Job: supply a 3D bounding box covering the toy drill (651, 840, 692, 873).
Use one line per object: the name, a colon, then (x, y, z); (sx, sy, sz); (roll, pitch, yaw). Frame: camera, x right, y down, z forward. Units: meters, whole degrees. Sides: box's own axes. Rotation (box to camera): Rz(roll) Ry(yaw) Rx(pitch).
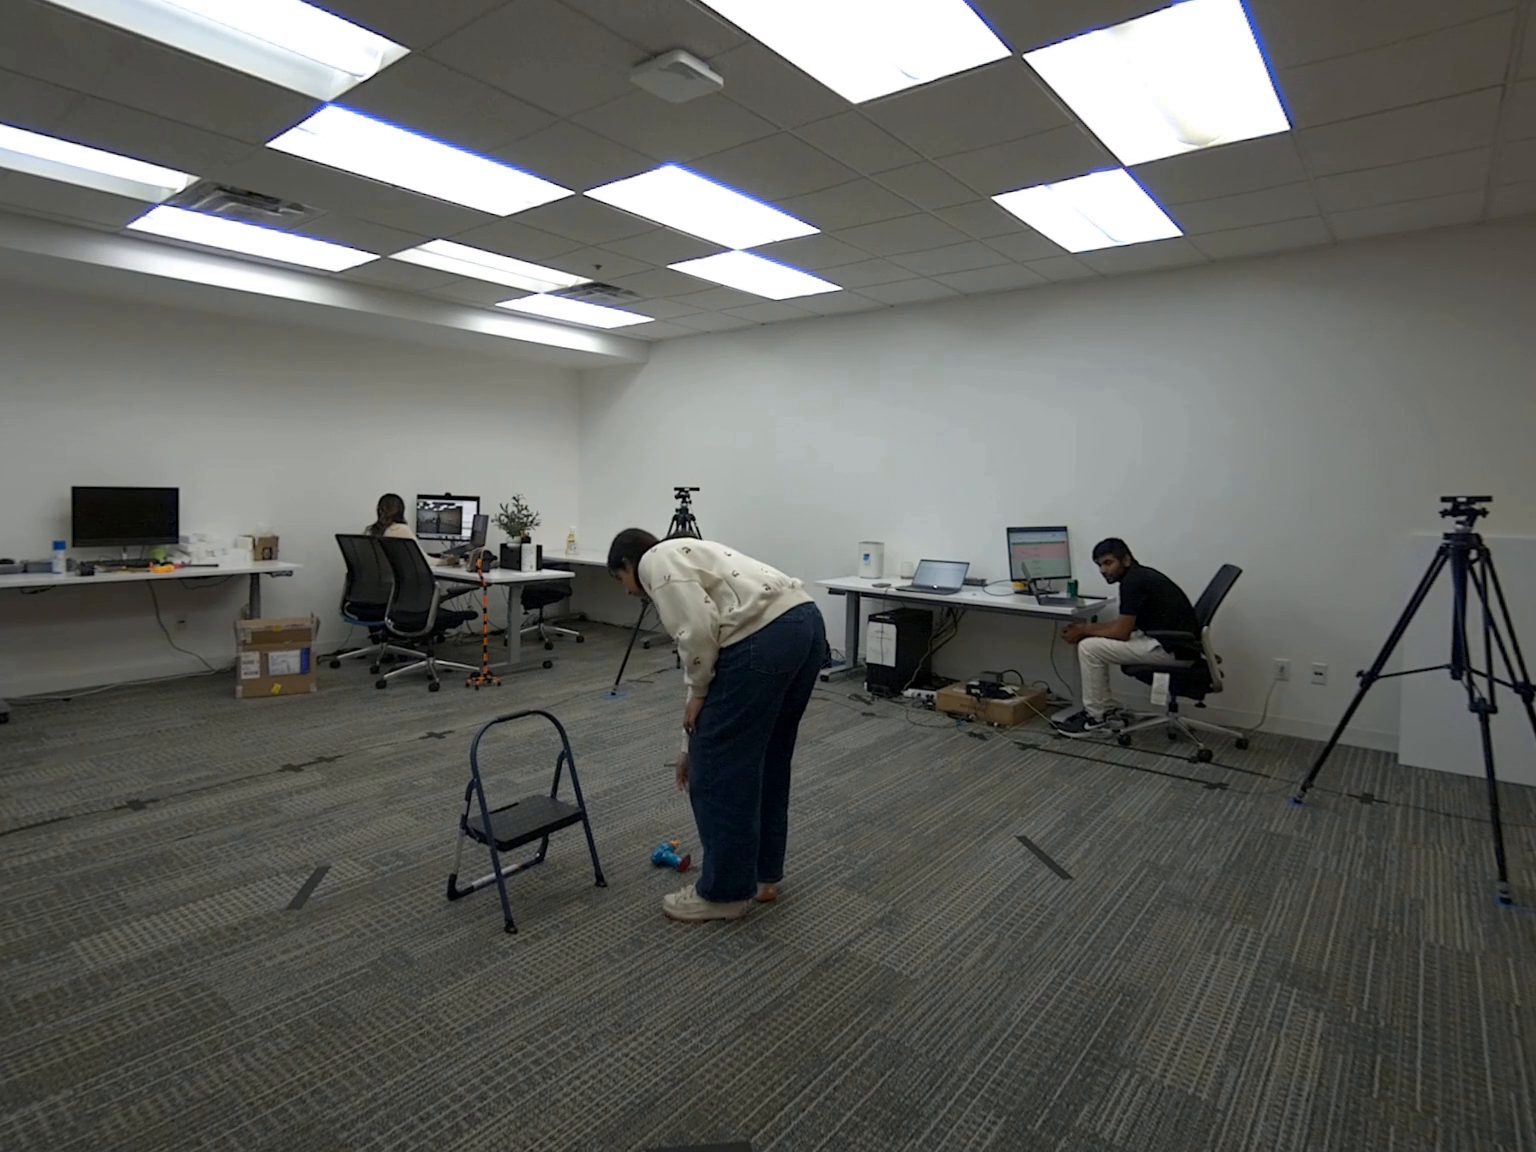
toy drill: (-0.357, 1.034, 3.158); (0.150, 0.060, 0.166); (4, 11, 29)
